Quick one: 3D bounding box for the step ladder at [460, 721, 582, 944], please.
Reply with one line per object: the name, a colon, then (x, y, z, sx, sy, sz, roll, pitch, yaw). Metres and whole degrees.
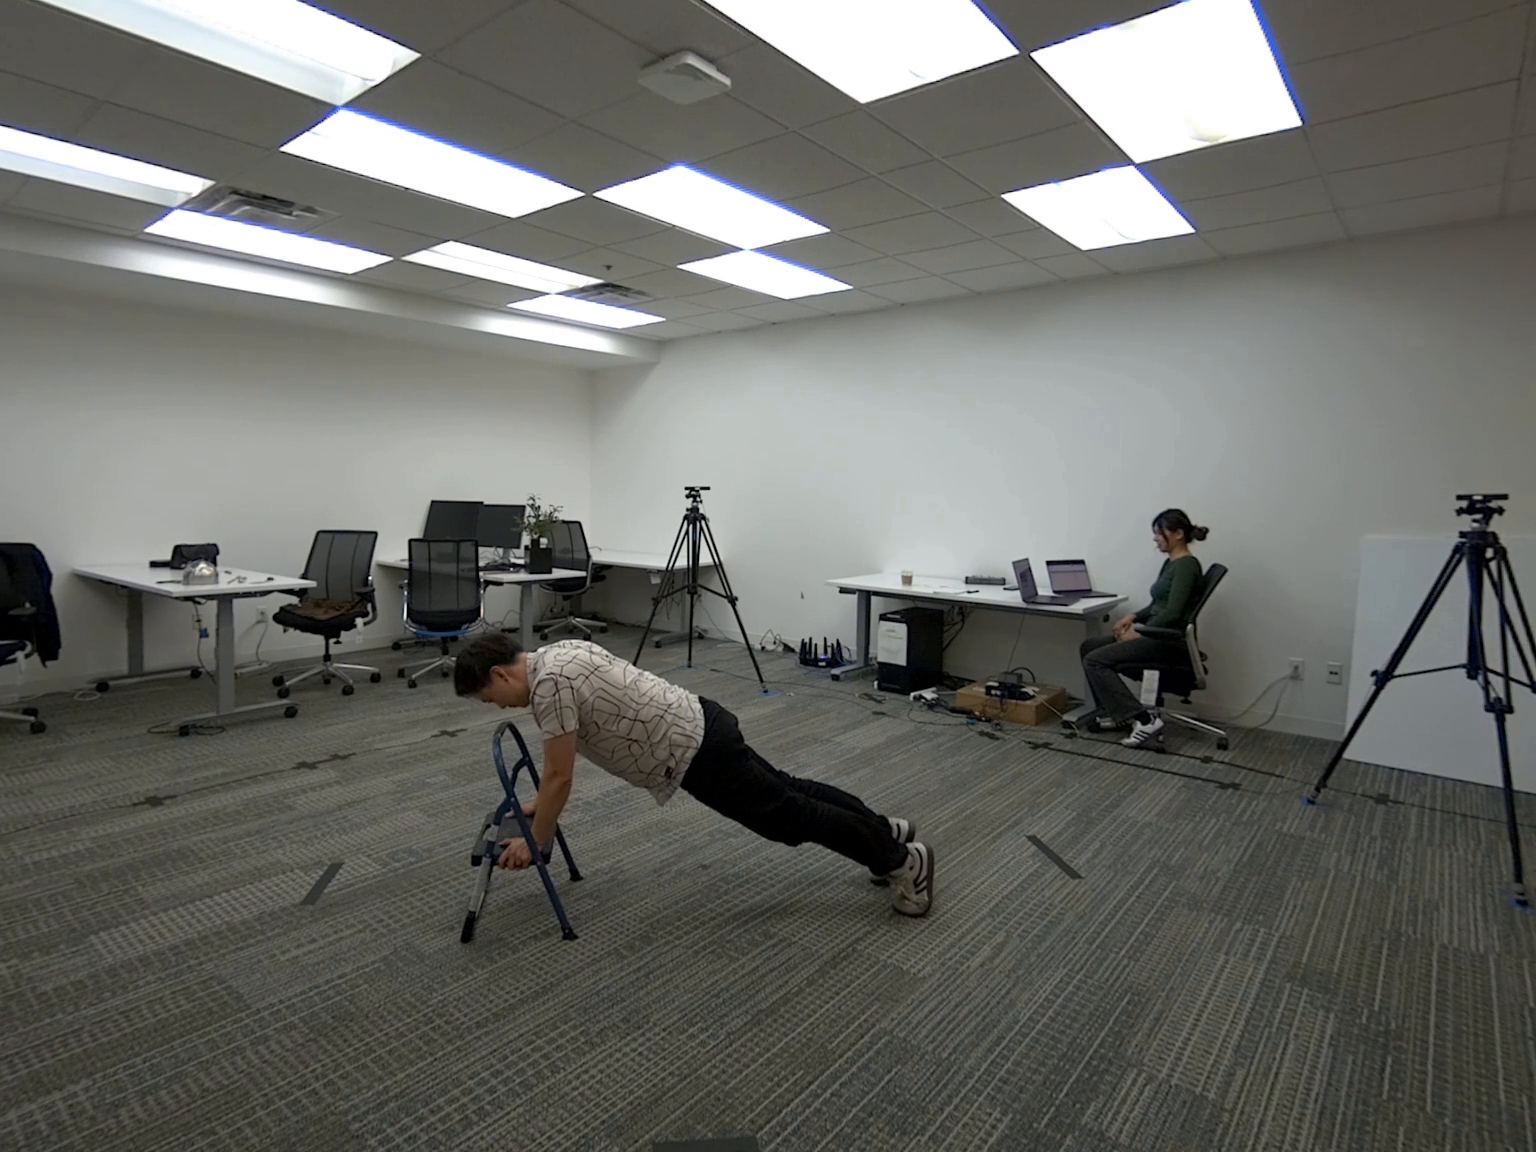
step ladder: (-0.804, 0.793, 2.779, 0.346, 0.604, 0.436, 1, 3, -9)
